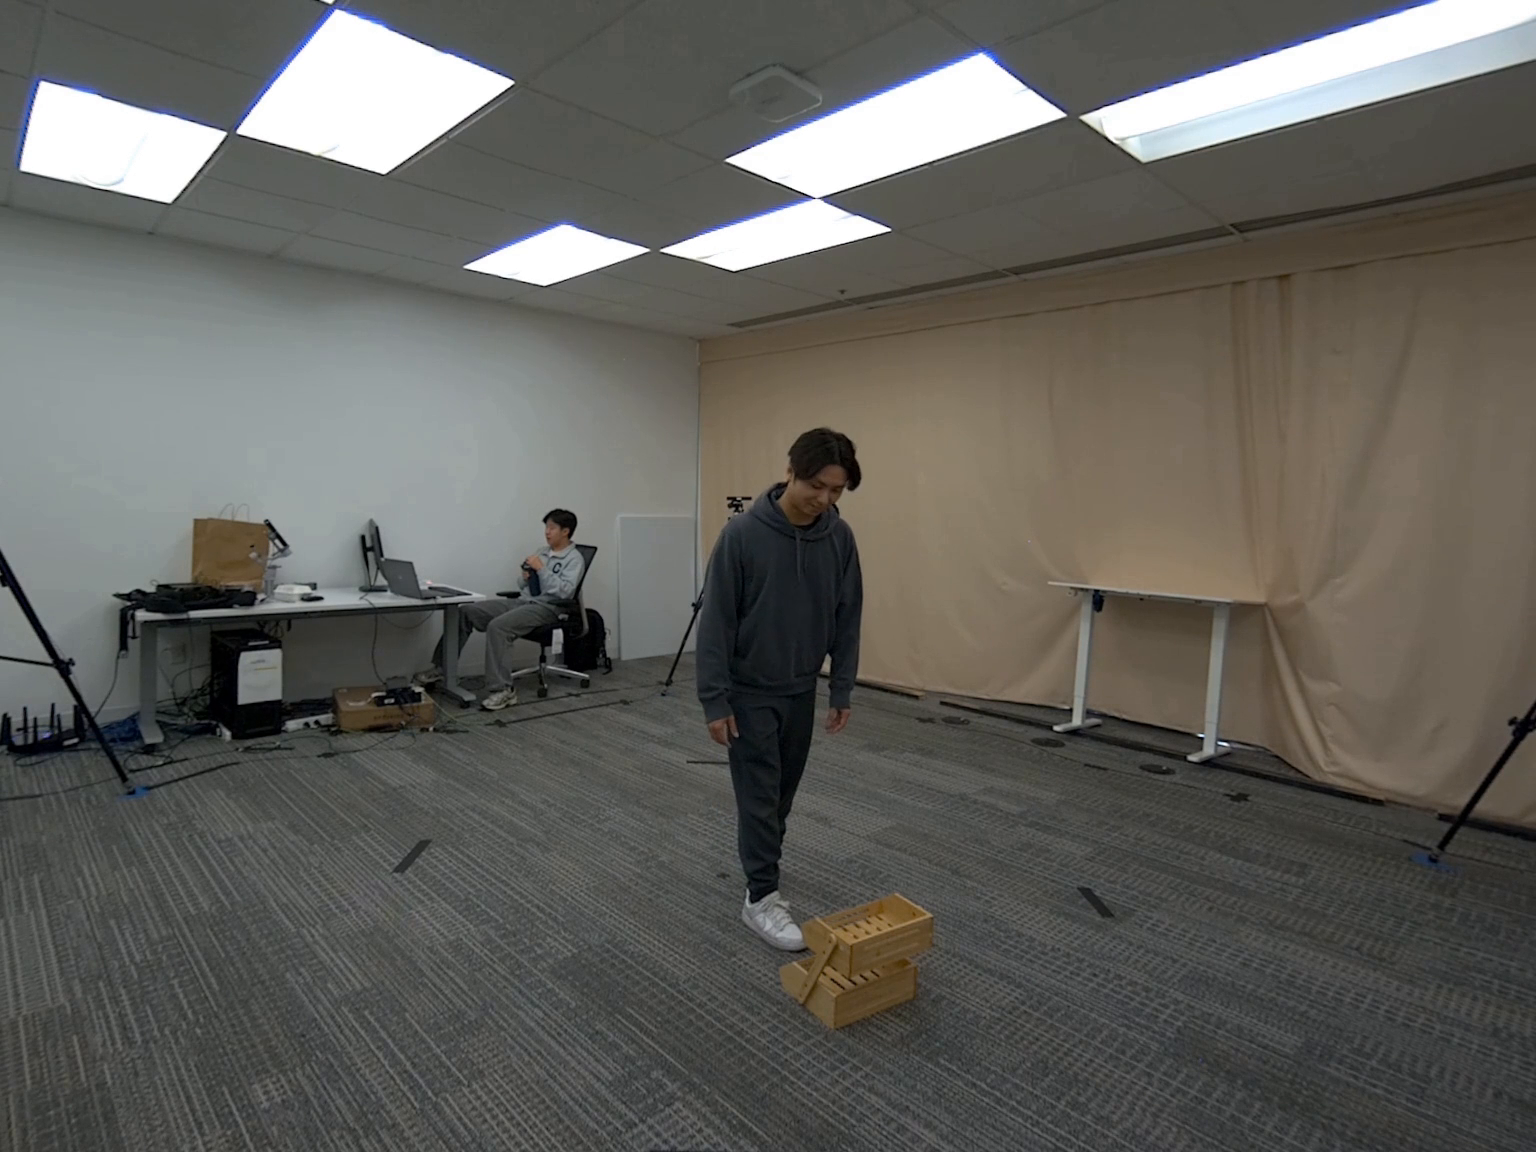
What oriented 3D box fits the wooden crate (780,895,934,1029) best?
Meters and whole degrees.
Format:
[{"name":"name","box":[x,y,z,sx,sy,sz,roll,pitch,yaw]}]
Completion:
[{"name":"wooden crate","box":[0.239,1.048,2.367,0.317,0.272,0.309,-2,6,-34]}]
